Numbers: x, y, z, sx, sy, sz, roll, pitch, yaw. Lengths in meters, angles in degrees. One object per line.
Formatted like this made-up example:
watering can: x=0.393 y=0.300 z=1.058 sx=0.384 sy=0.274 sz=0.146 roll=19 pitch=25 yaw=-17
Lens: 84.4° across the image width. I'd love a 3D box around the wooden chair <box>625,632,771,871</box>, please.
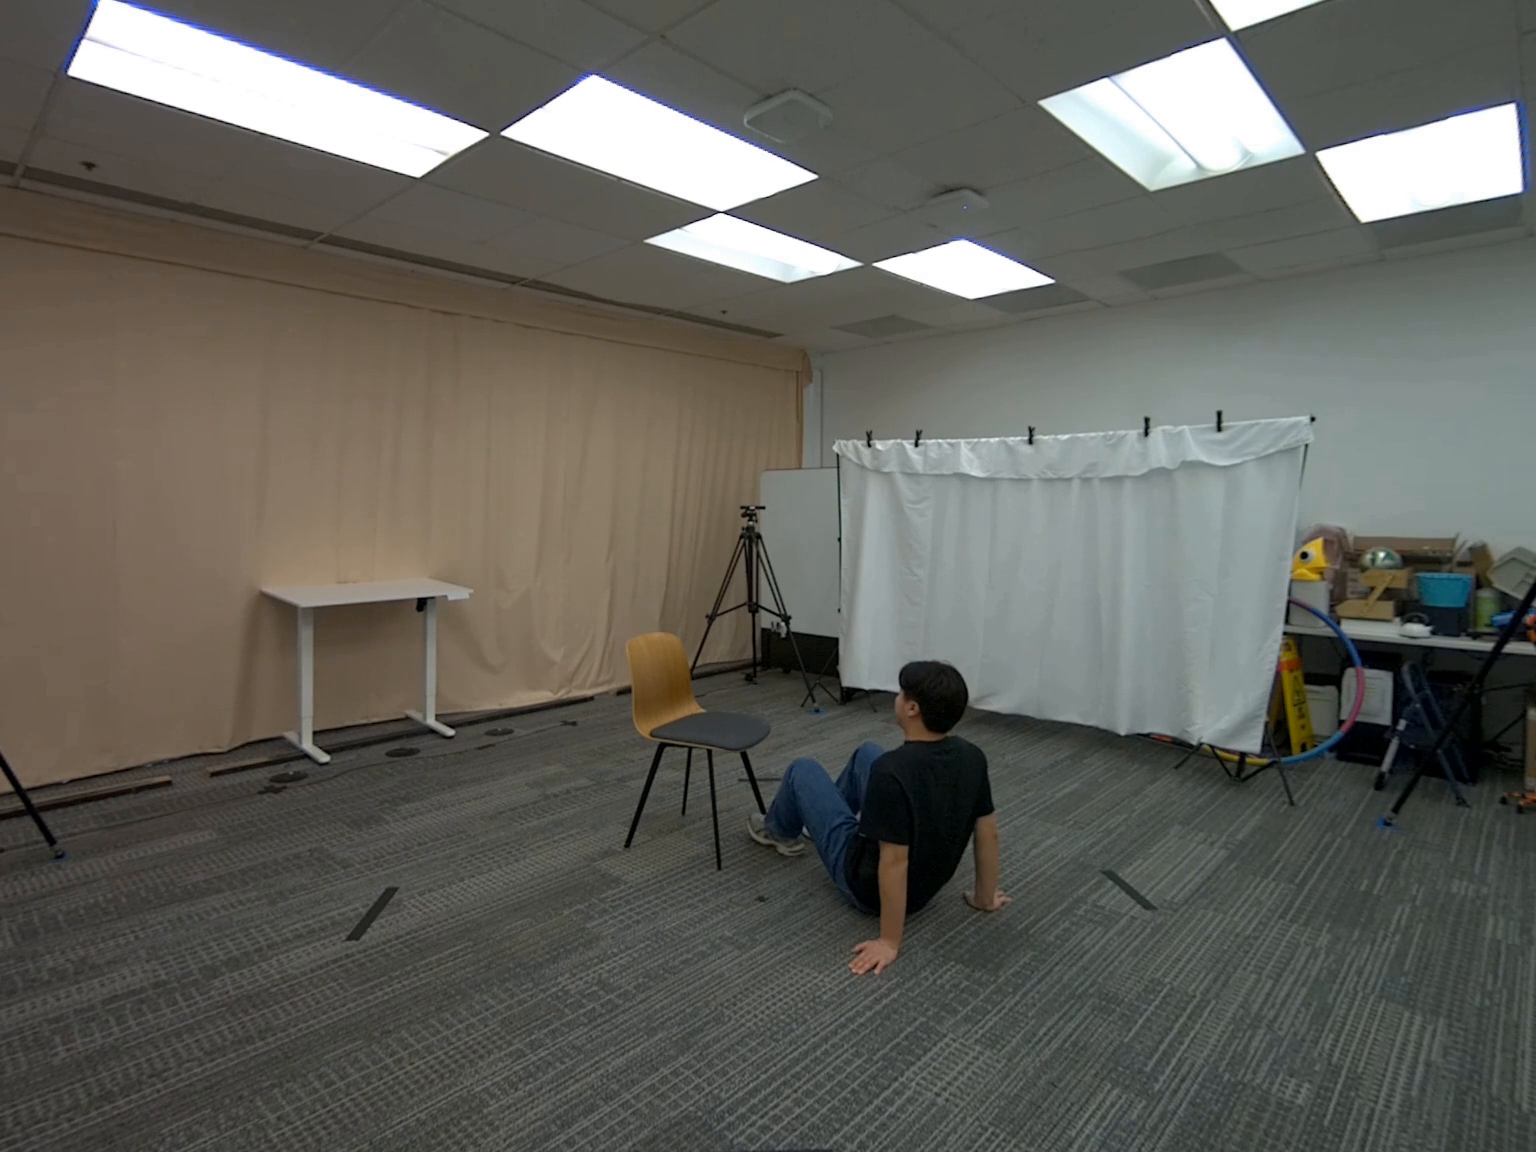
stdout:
wooden chair: x=-0.280 y=0.677 z=3.484 sx=0.537 sy=0.877 sz=0.466 roll=-4 pitch=1 yaw=29
